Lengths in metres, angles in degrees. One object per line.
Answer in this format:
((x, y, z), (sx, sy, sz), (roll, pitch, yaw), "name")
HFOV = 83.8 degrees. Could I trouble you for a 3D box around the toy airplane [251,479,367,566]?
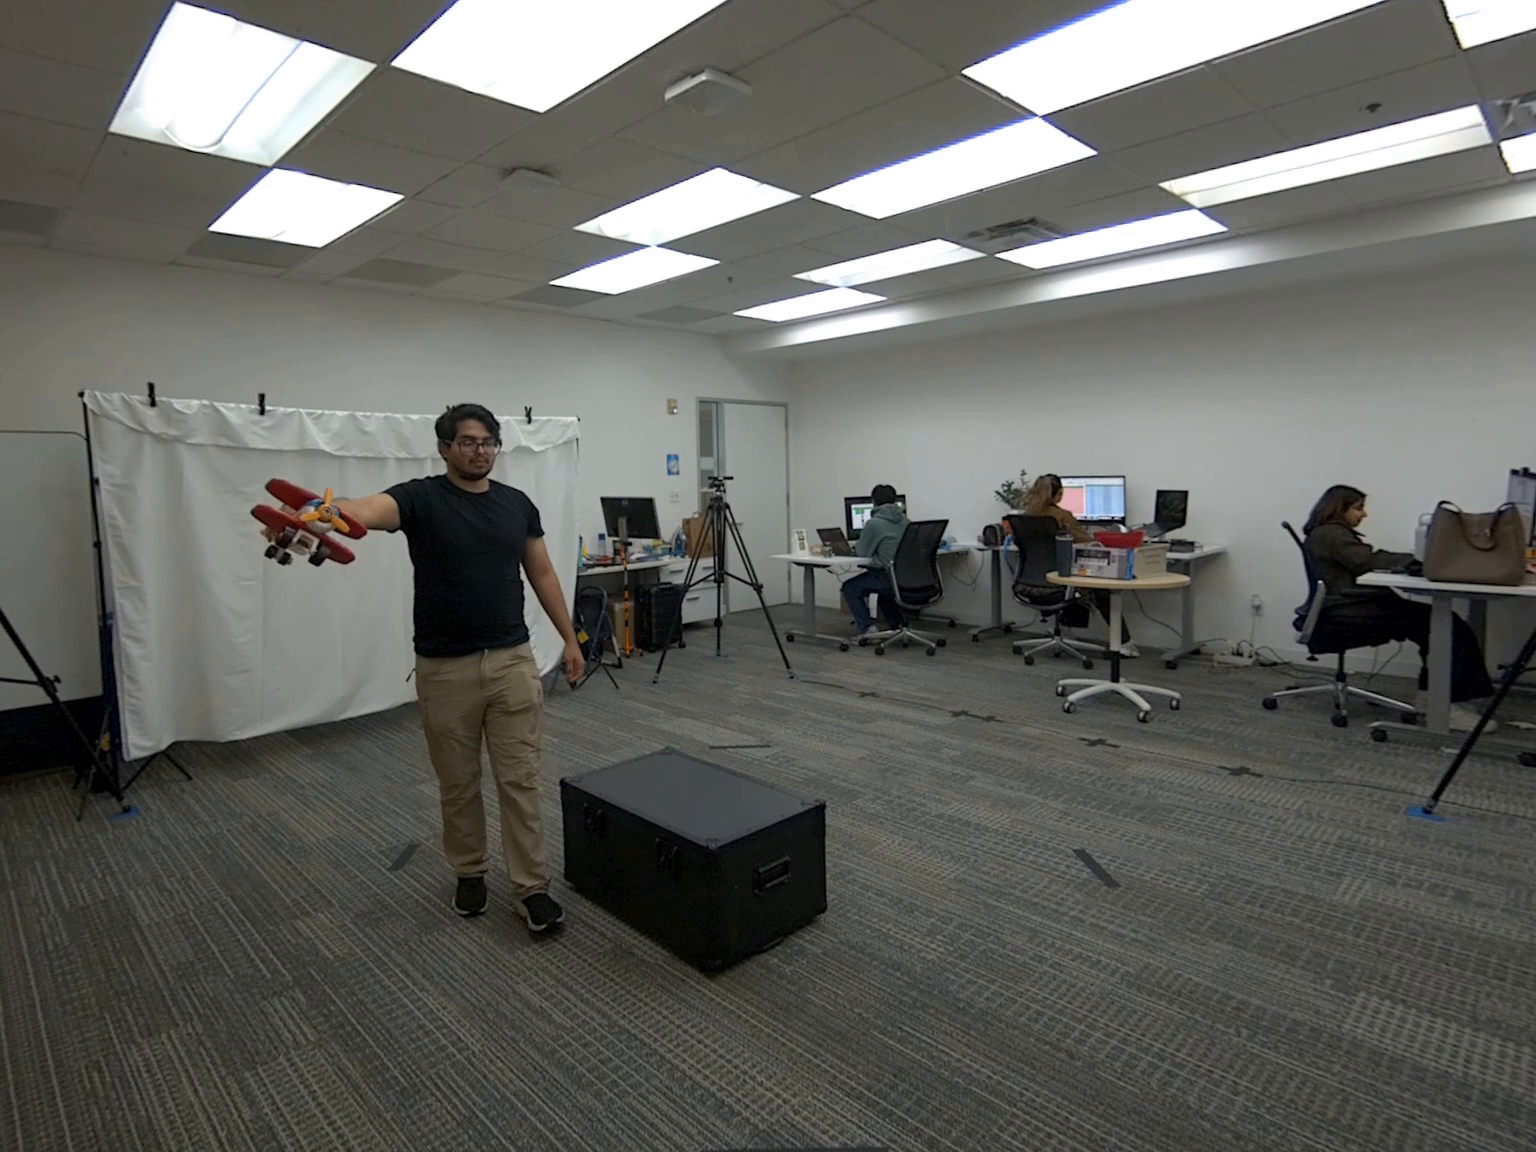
((-1.159, -0.117, 2.087), (0.265, 0.158, 0.242), (11, -26, 21), "toy airplane")
